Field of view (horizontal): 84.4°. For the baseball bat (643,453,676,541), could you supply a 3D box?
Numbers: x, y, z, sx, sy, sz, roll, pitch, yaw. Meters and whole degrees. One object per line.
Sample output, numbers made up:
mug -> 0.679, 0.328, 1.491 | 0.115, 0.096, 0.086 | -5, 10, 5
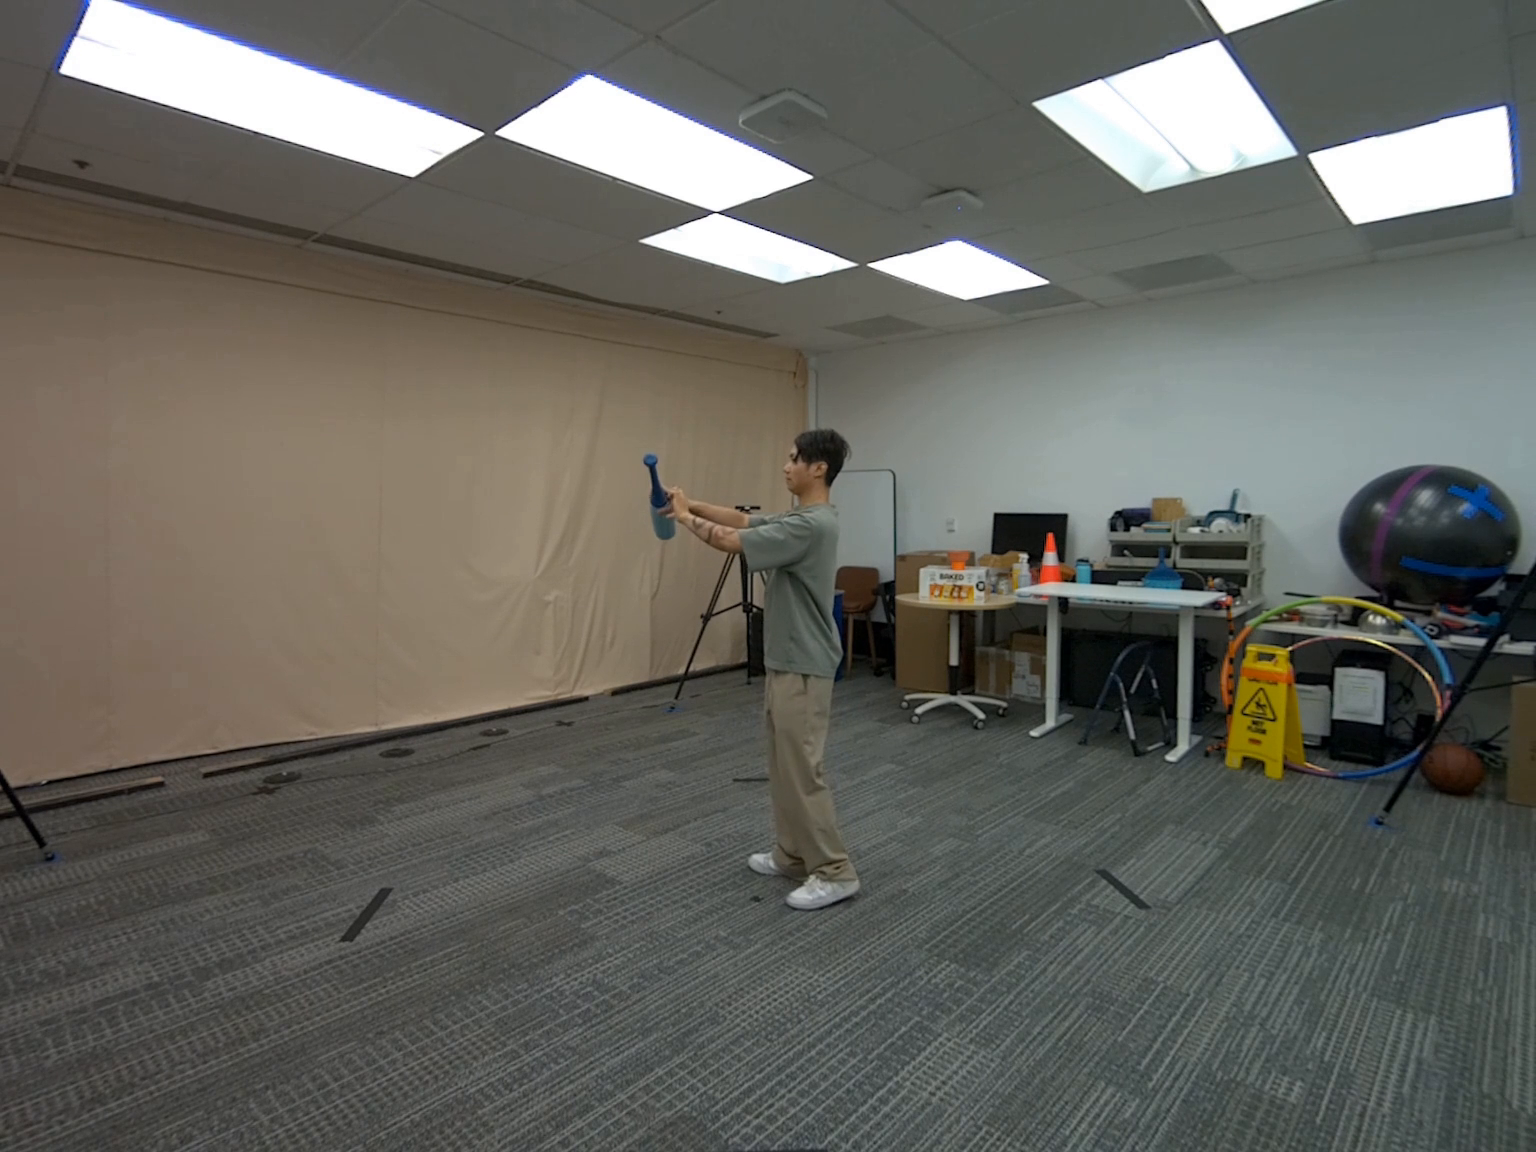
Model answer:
baseball bat -> -0.406, -0.288, 3.132 | 0.089, 0.090, 0.534 | 1, -26, 0
